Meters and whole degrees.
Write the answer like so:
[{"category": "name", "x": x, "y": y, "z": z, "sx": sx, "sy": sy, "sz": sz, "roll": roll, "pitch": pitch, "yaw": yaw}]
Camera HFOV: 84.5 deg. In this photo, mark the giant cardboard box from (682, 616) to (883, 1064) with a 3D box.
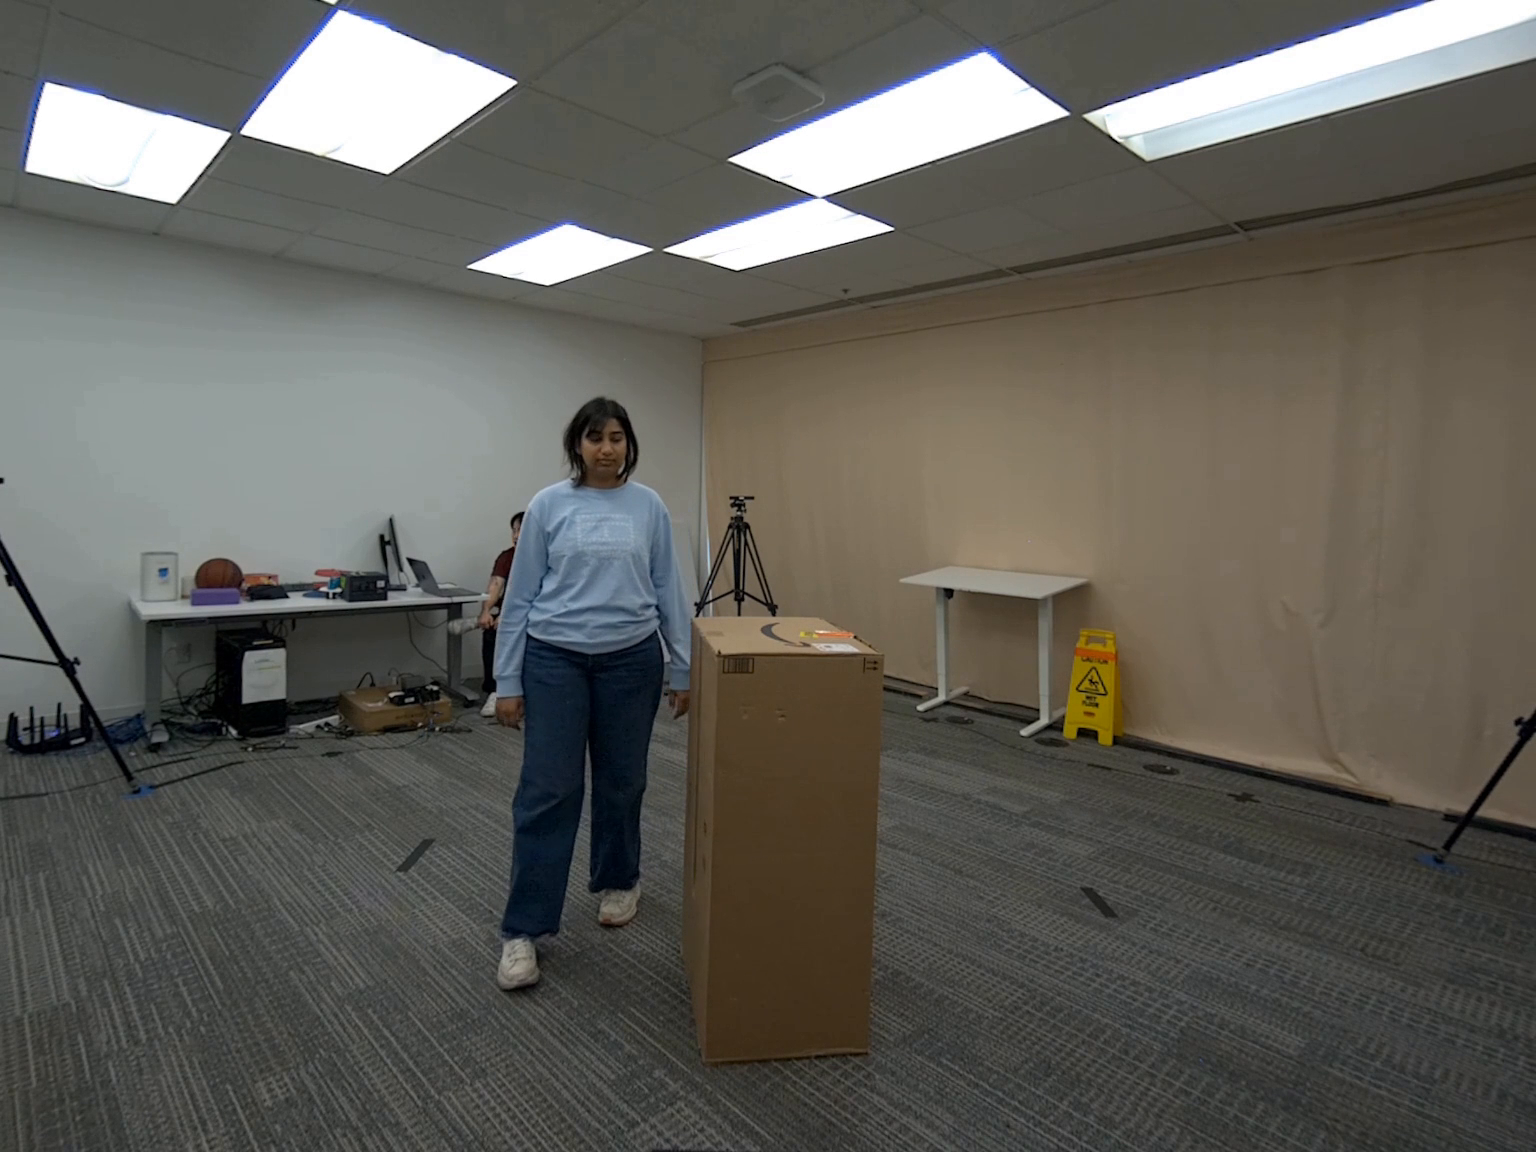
[{"category": "giant cardboard box", "x": 0.009, "y": 0.671, "z": 2.338, "sx": 0.422, "sy": 1.023, "sz": 0.584, "roll": 1, "pitch": 4, "yaw": -12}]
